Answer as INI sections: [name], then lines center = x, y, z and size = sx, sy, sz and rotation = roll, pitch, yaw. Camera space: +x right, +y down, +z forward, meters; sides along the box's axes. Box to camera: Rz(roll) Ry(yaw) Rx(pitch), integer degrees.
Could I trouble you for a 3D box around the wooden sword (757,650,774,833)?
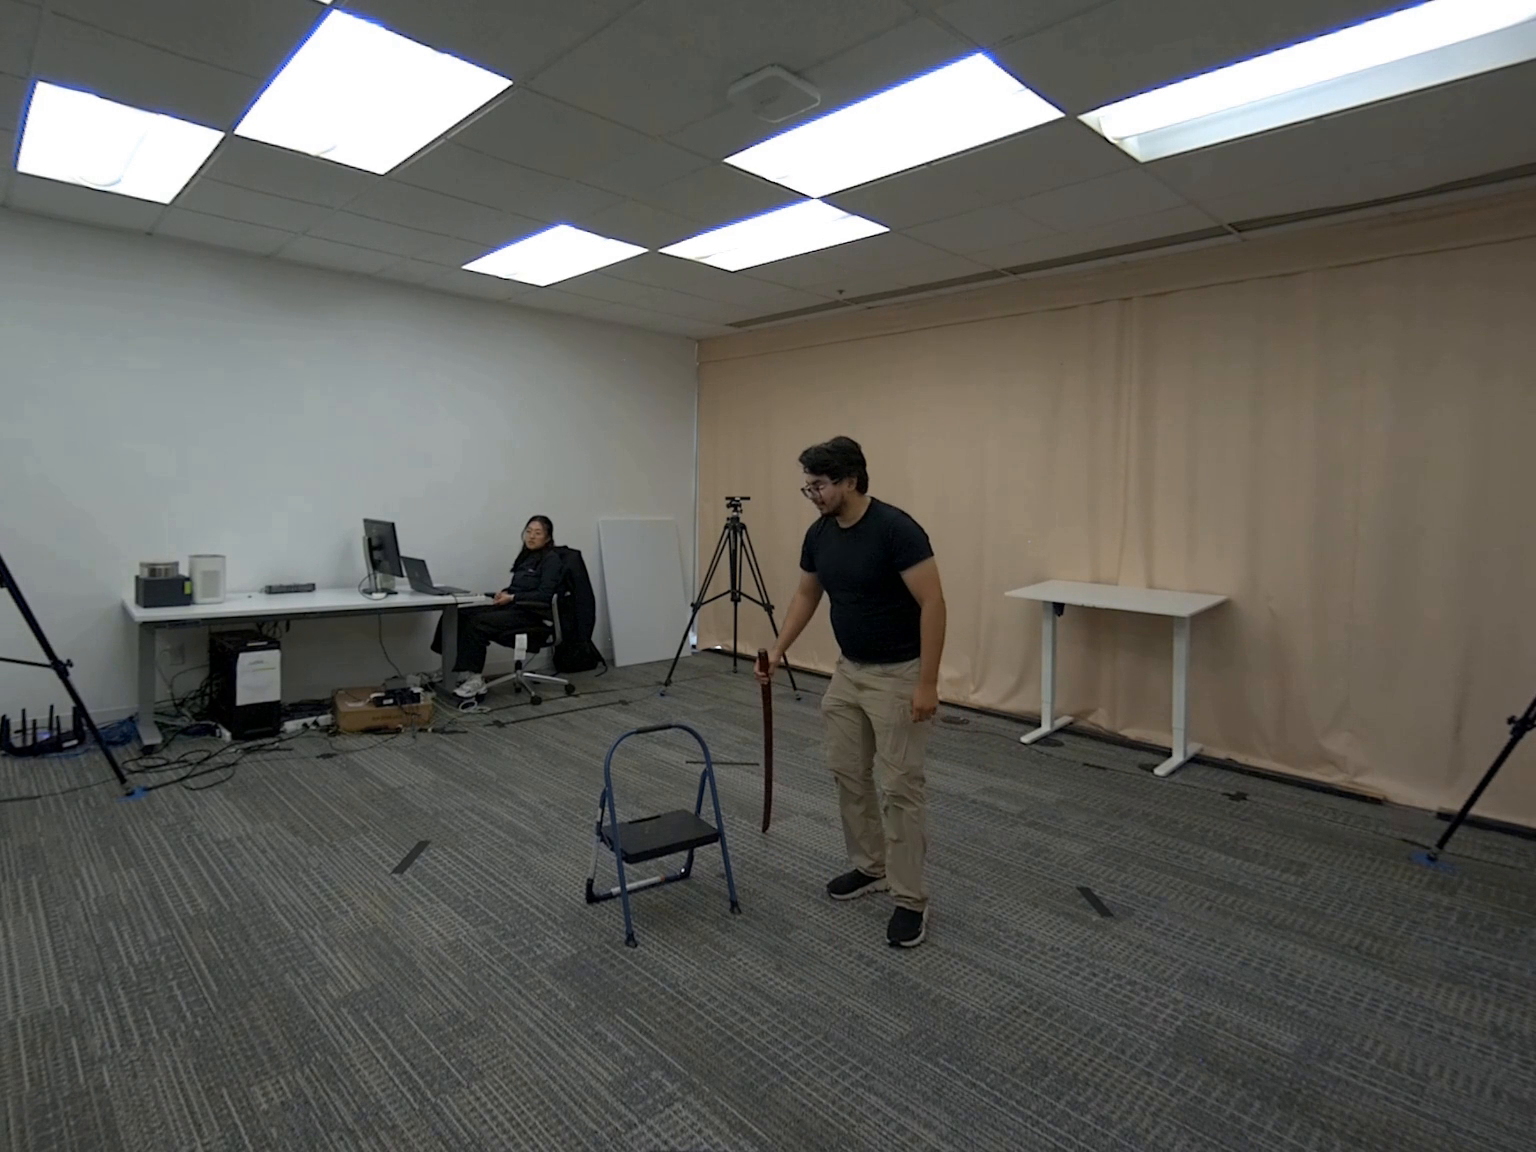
[wooden sword]
center = -0.009, 0.687, 3.243
size = 0.024, 1.003, 0.052
rotation = -1, 38, -1
